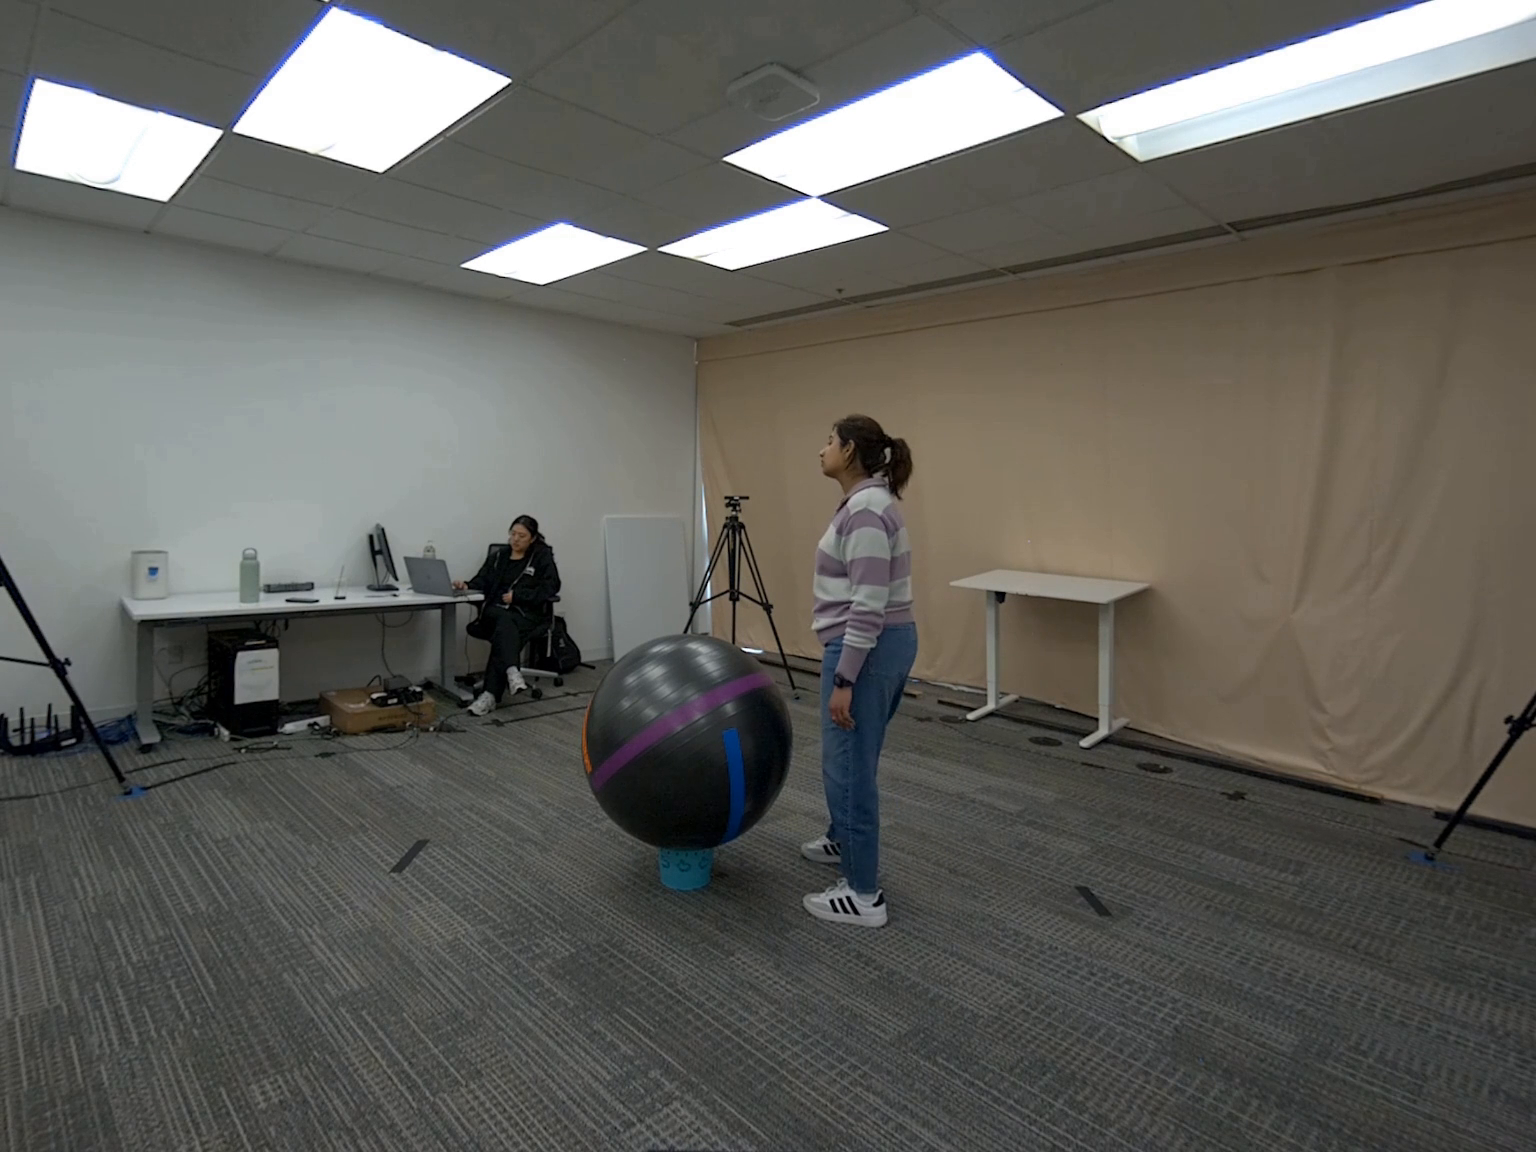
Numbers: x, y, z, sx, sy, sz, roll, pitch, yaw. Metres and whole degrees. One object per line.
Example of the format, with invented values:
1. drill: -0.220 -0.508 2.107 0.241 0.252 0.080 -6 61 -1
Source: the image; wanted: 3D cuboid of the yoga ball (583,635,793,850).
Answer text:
1. yoga ball: -0.293 0.589 3.044 0.757 0.756 0.761 1 4 -1
